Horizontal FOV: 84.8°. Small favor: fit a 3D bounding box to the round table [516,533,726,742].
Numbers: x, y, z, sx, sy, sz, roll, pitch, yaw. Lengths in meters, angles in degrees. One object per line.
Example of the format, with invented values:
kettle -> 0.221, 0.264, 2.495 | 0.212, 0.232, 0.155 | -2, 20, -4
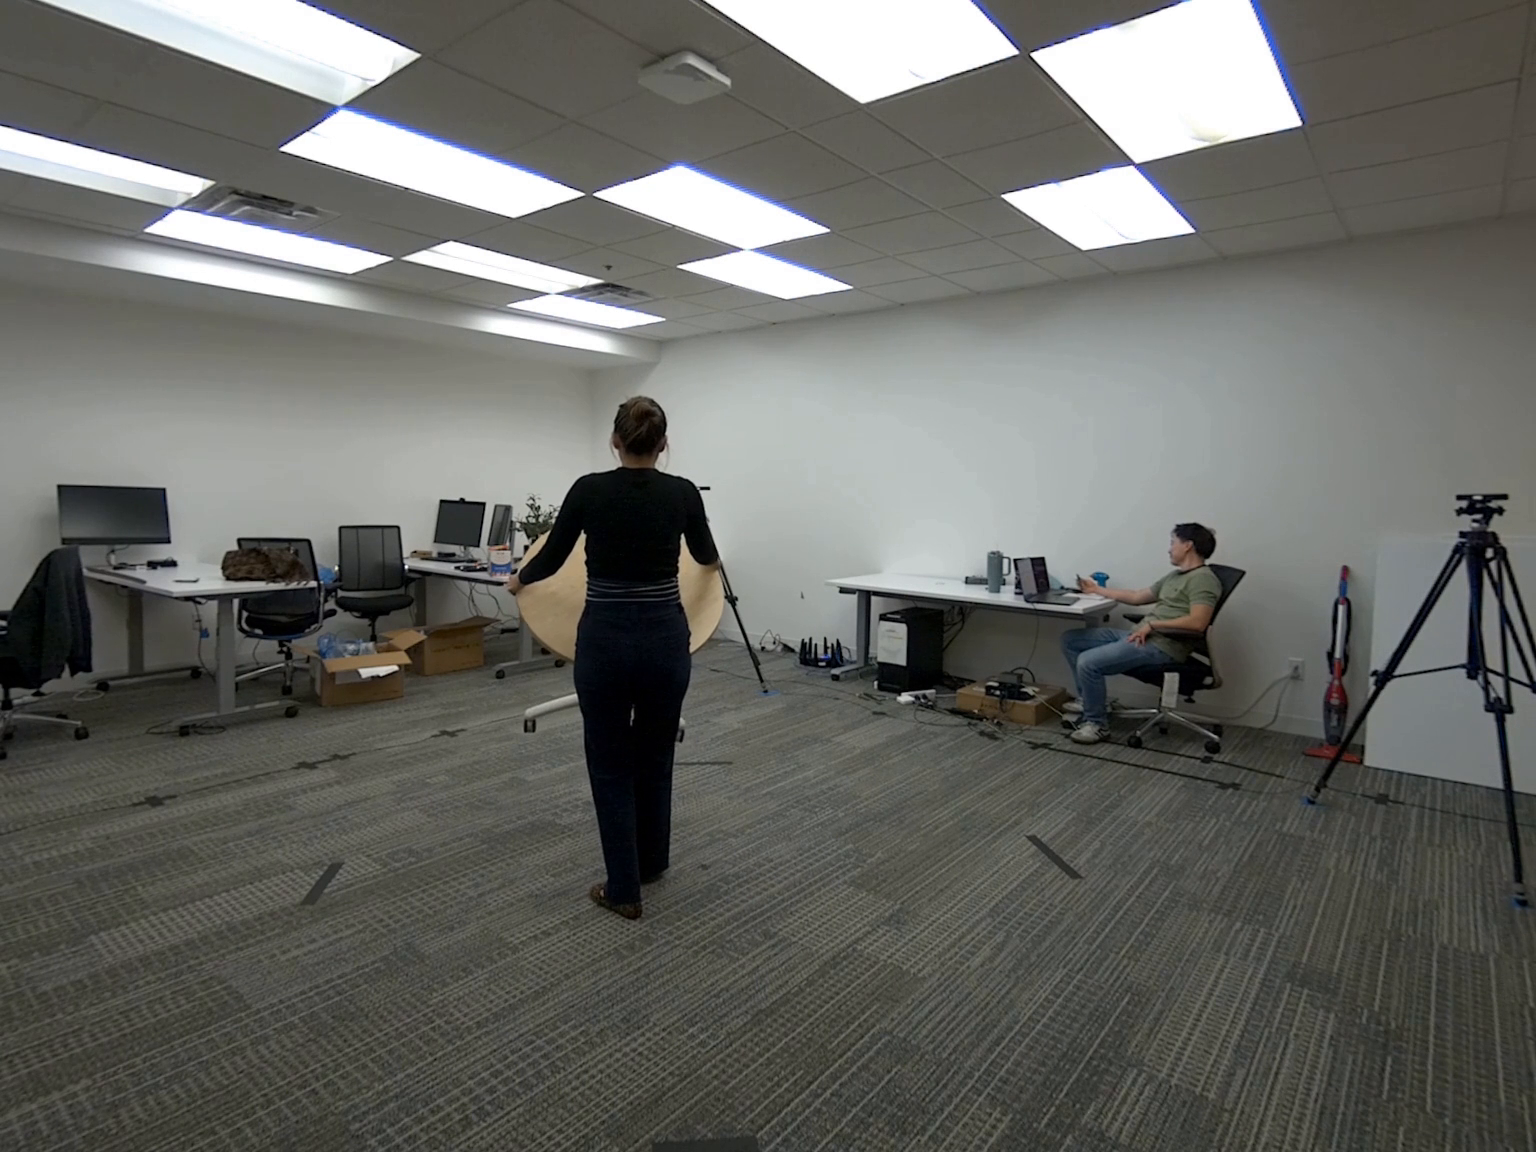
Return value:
round table -> -0.634, 0.300, 3.409 | 0.757, 0.778, 0.787 | 7, 44, -9
